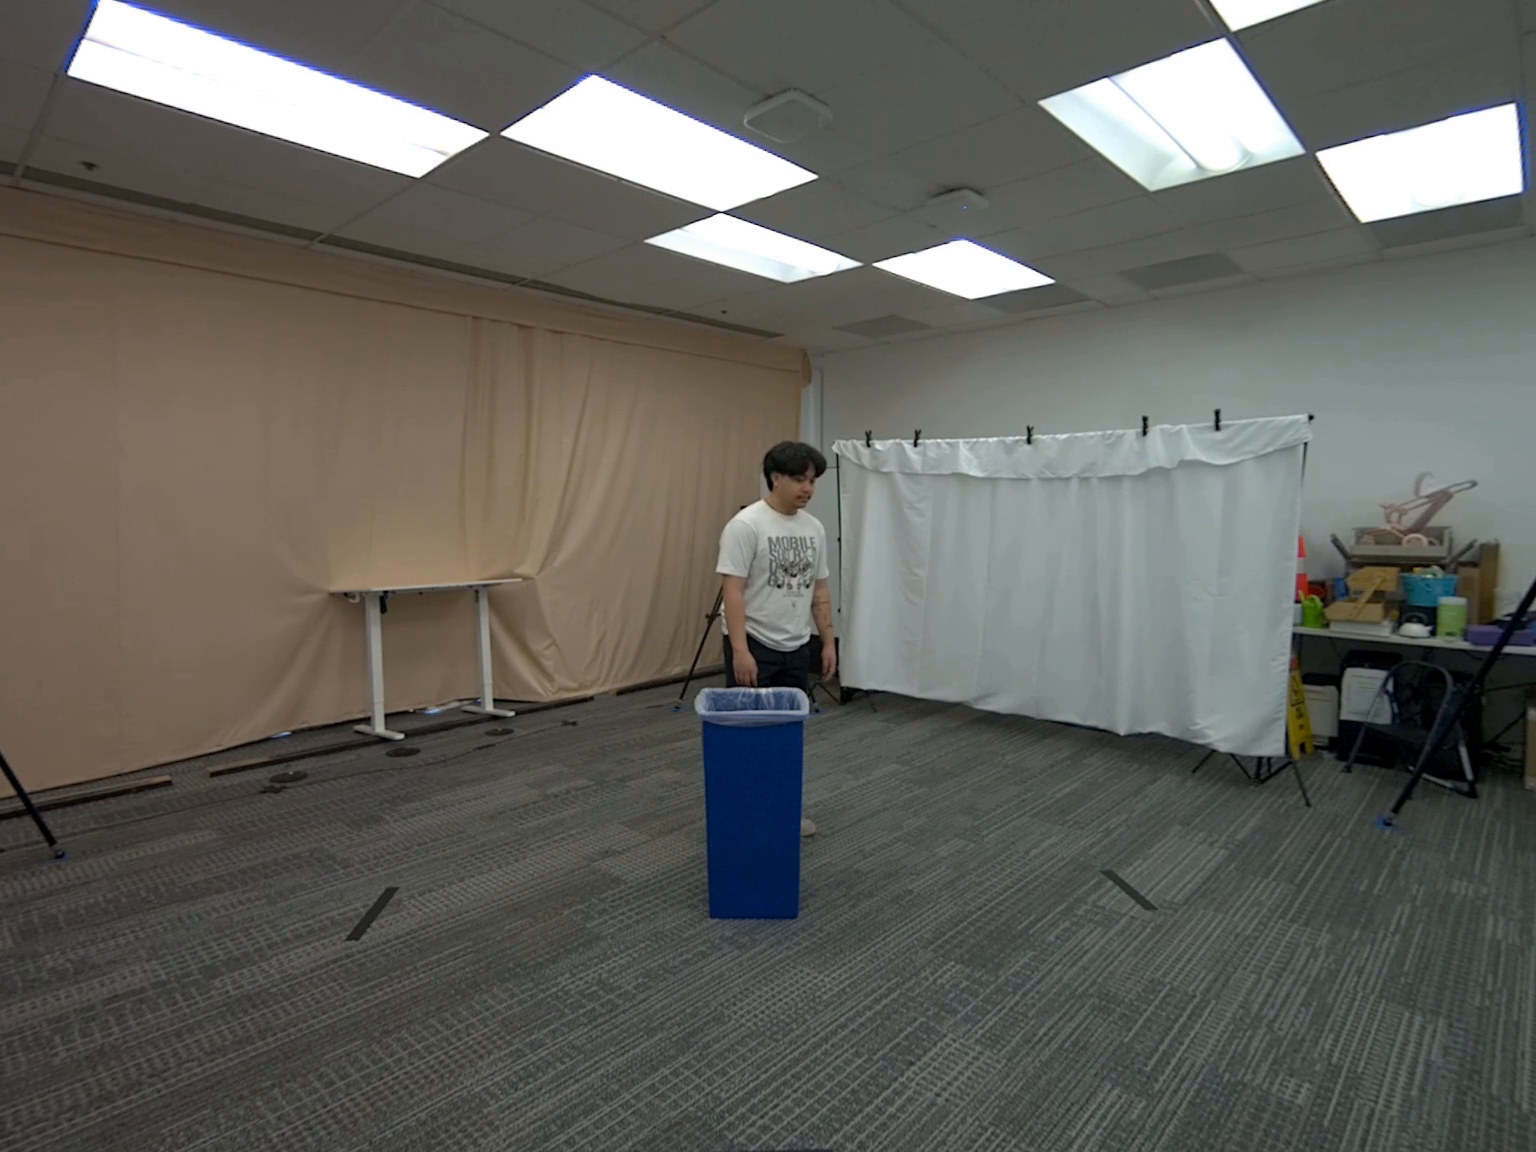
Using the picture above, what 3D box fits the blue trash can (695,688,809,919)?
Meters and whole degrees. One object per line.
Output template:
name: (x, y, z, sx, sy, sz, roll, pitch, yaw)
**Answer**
blue trash can: (-0.050, 0.786, 2.967, 0.378, 0.712, 0.375, 0, 3, -1)
